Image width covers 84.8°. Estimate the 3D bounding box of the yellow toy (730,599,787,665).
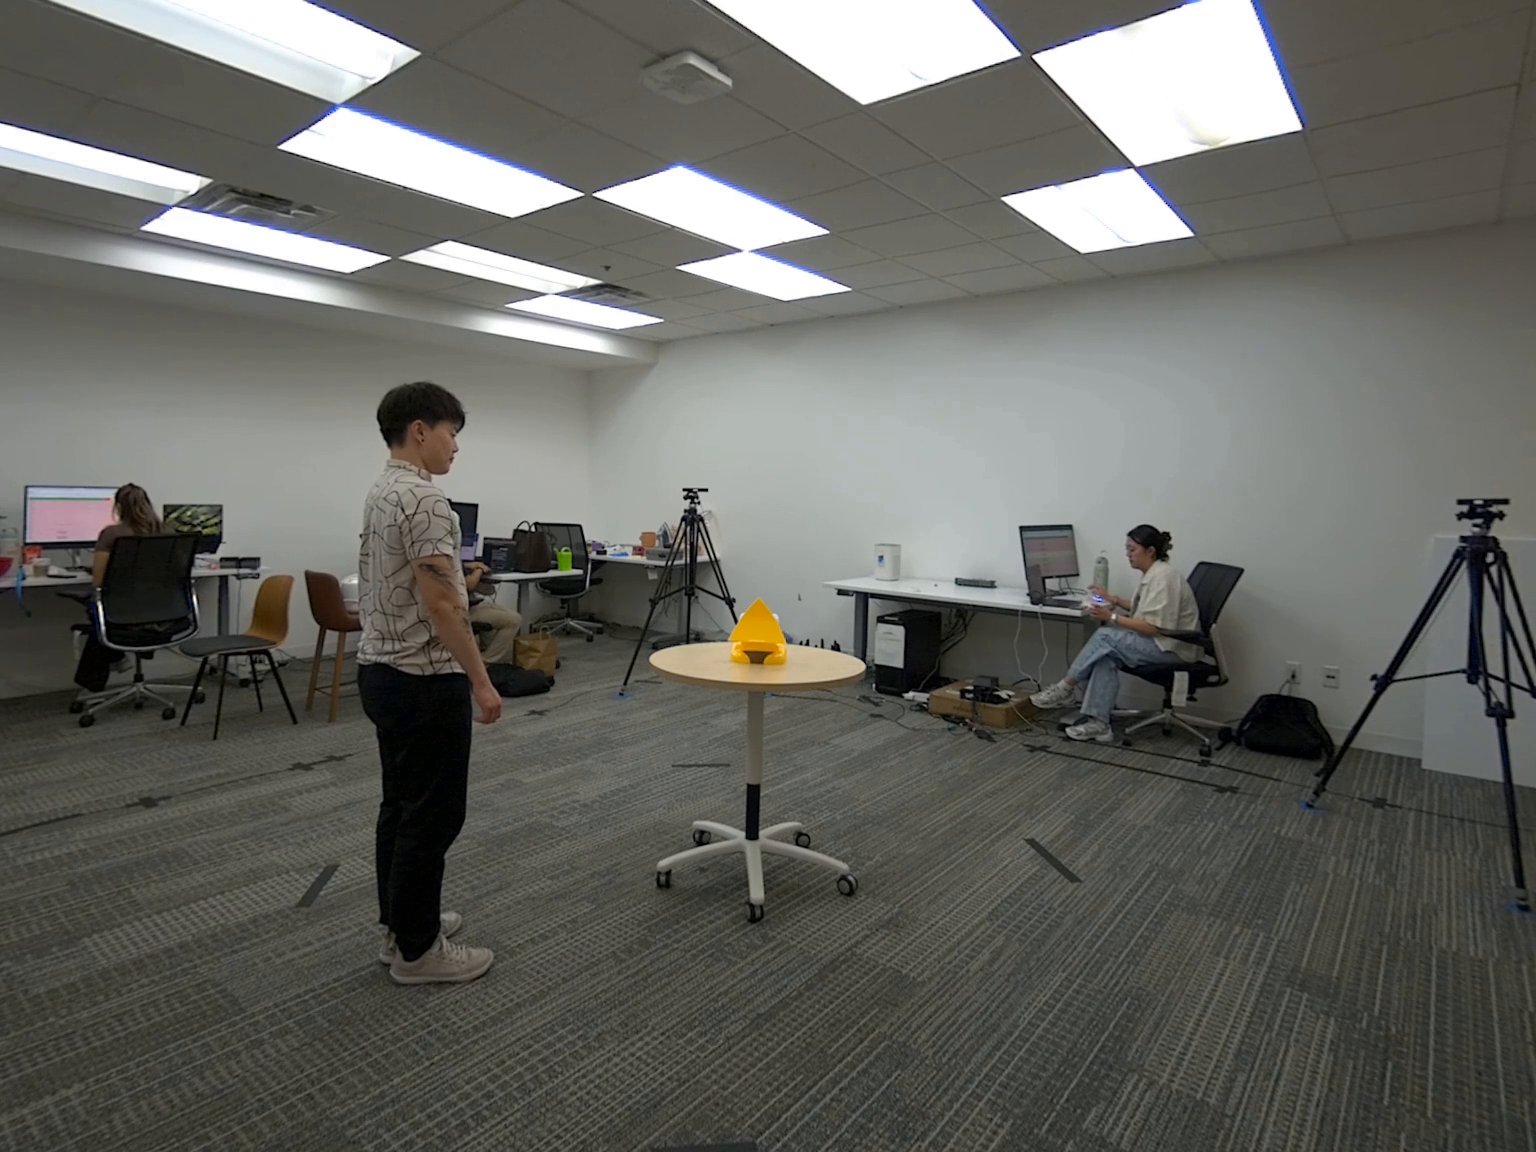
[{"bbox_3d":[-0.039,0.184,3.032,0.206,0.230,0.192,2,4,6],"label":"yellow toy"}]
